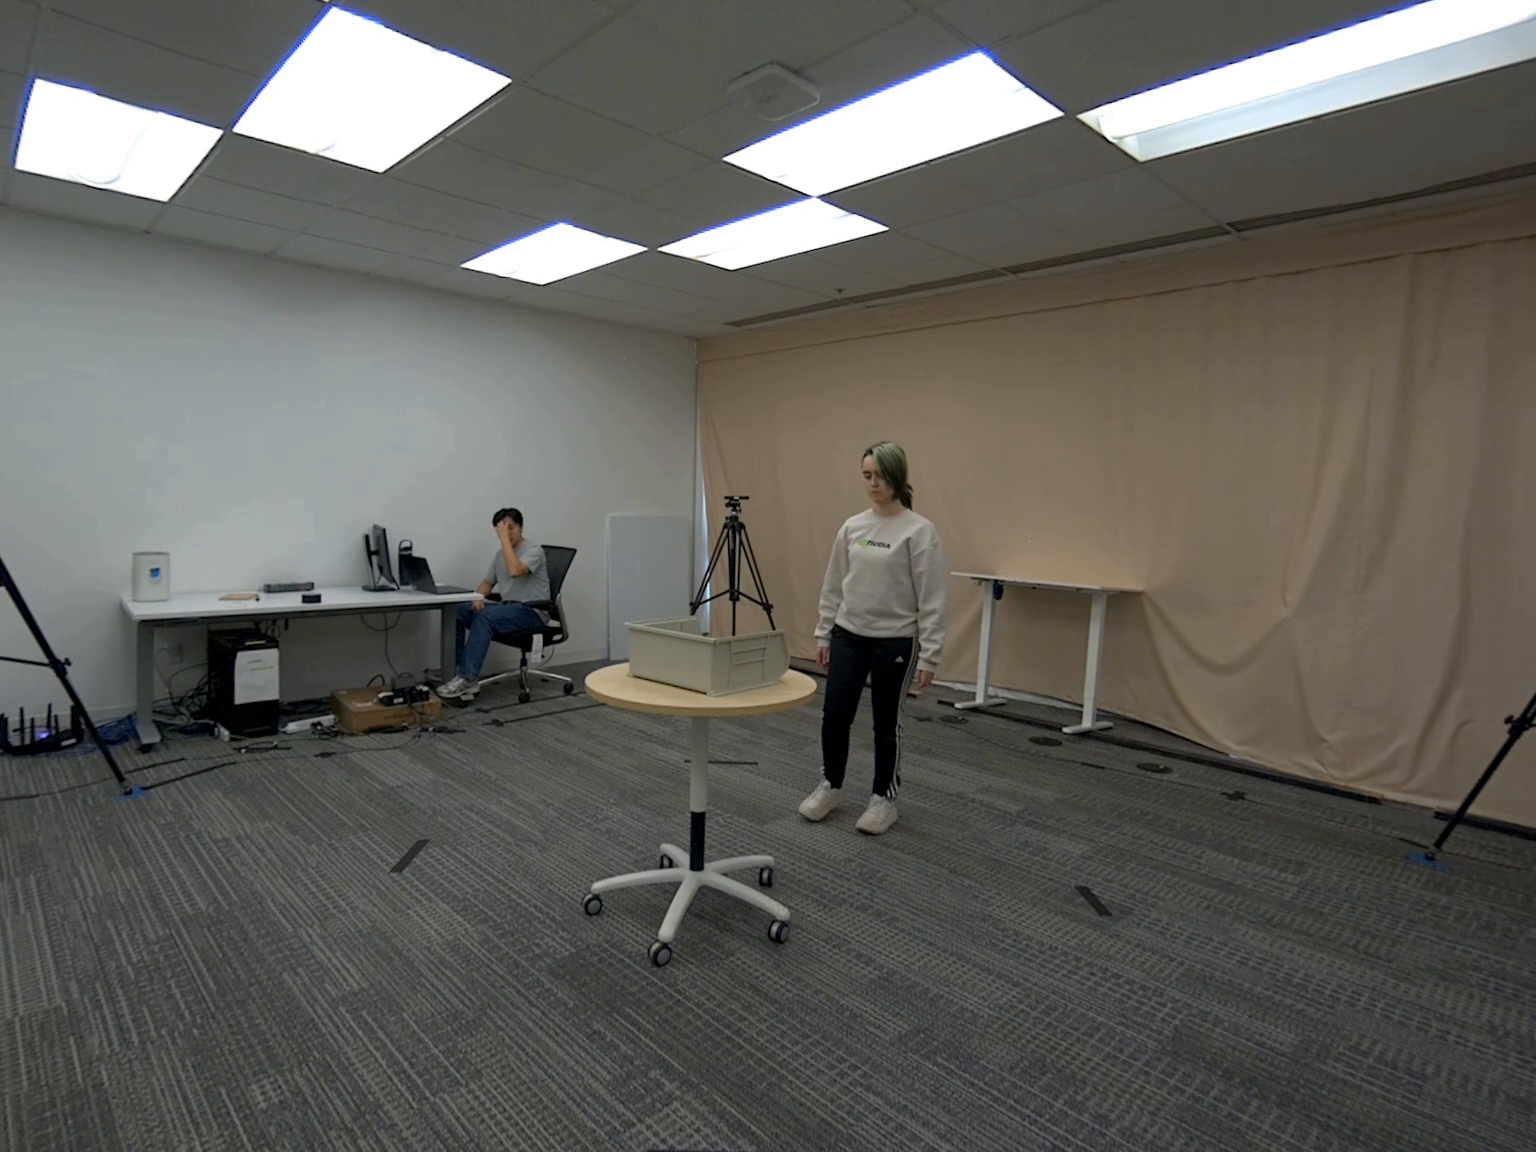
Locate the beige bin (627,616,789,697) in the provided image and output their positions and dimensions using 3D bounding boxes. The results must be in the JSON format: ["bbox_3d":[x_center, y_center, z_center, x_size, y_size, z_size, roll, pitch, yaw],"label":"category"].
[{"bbox_3d":[-0.208,0.259,2.814,0.433,0.188,0.369,6,8,41],"label":"beige bin"}]
